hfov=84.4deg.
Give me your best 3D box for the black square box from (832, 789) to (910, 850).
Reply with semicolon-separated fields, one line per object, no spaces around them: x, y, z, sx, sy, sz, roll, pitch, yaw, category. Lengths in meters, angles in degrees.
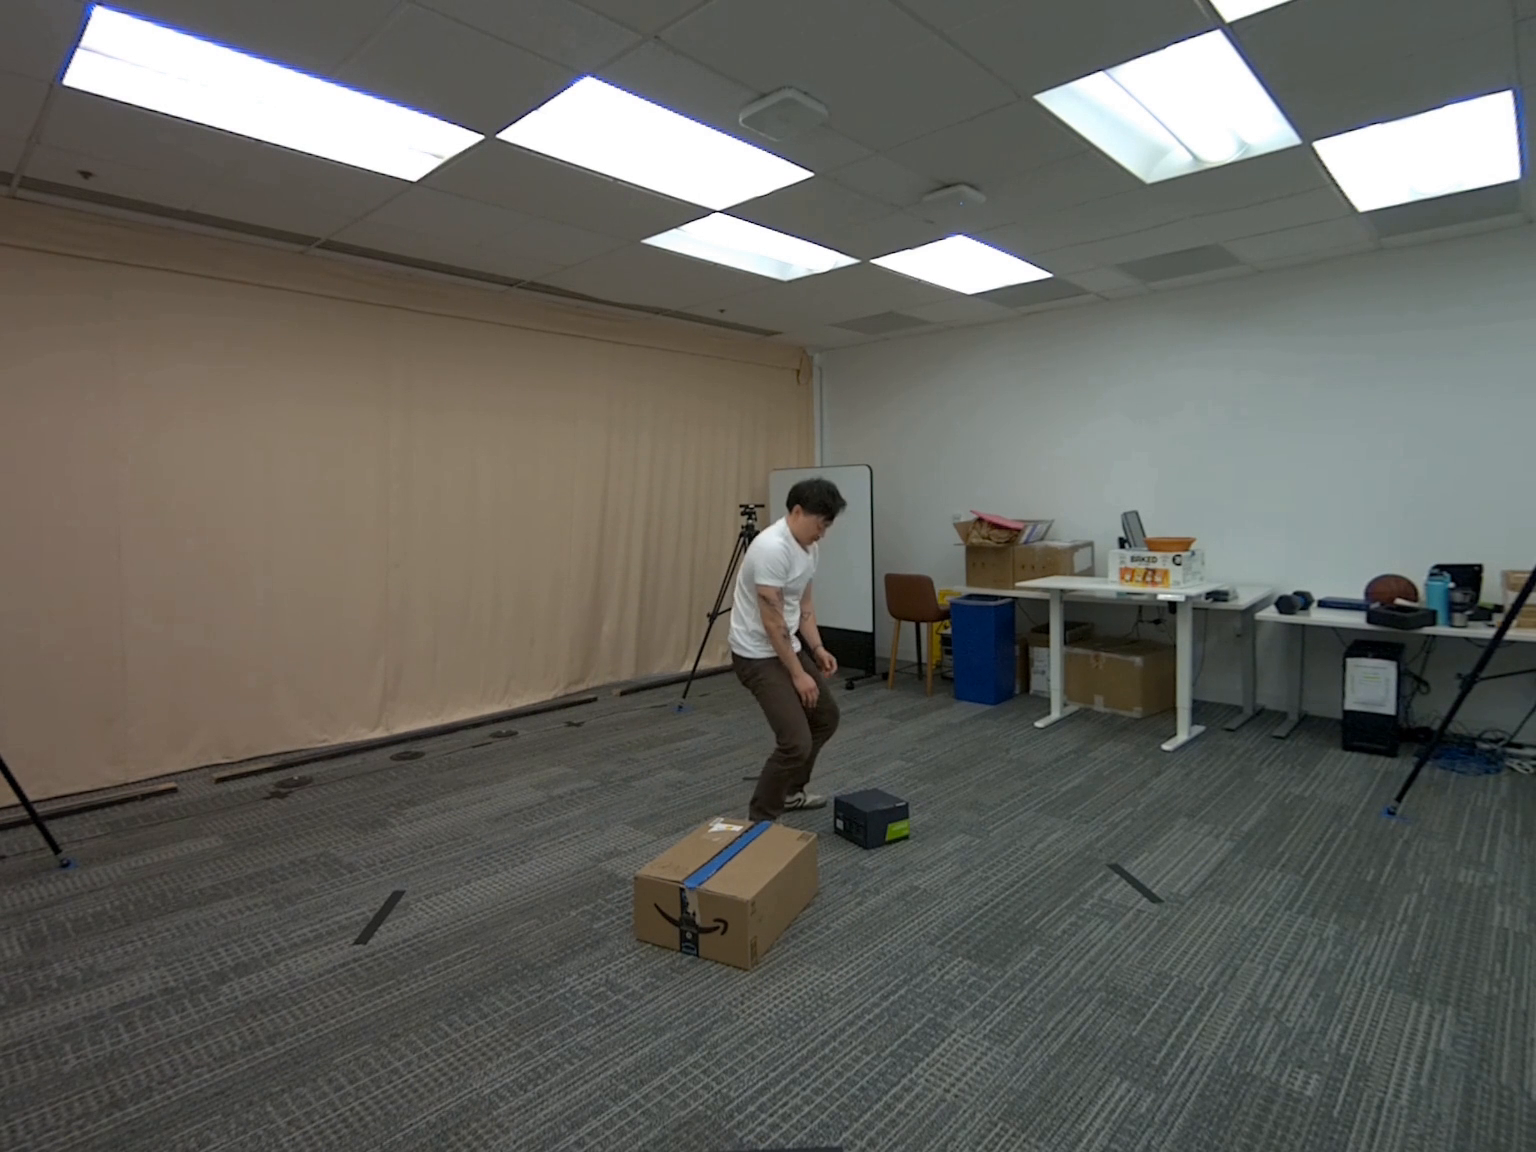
0.438;1.005;3.510;0.222;0.155;0.223;-3;4;-31;black square box
